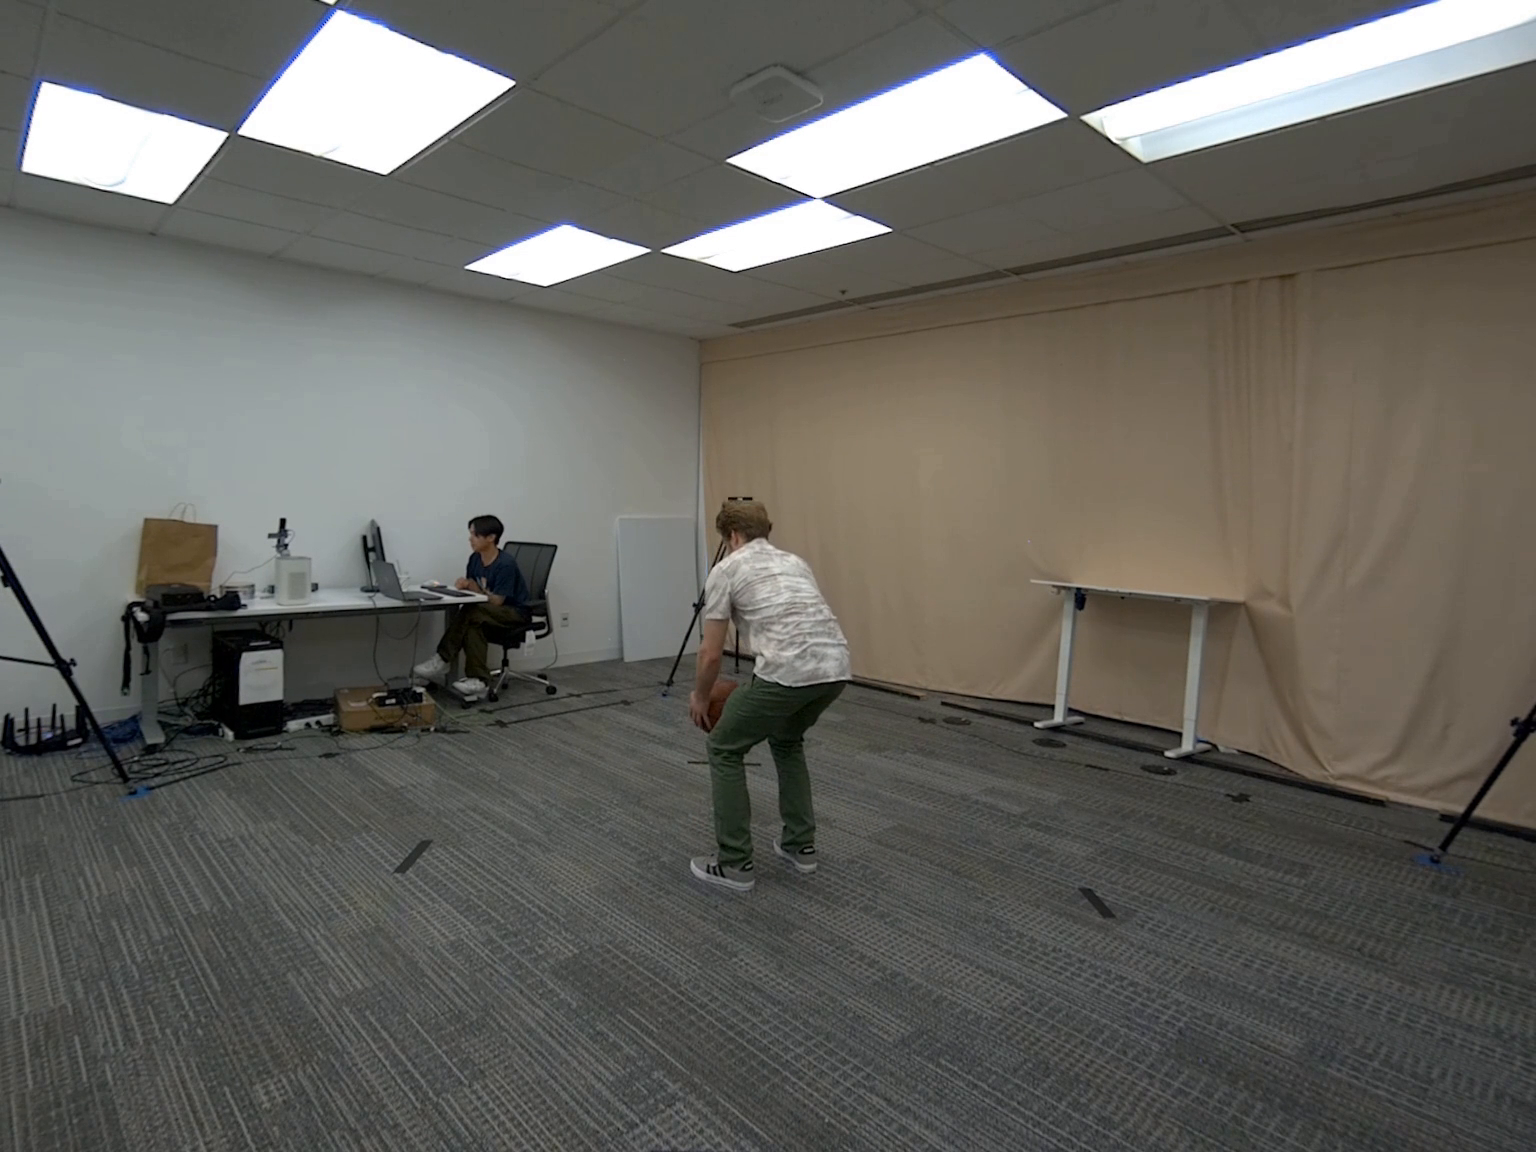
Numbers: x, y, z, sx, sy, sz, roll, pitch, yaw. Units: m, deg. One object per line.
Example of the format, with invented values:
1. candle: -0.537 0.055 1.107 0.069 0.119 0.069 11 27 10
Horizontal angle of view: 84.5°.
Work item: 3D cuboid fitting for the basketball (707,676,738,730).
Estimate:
1. basketball: -0.197 0.544 3.495 0.236 0.235 0.237 1 4 -1
